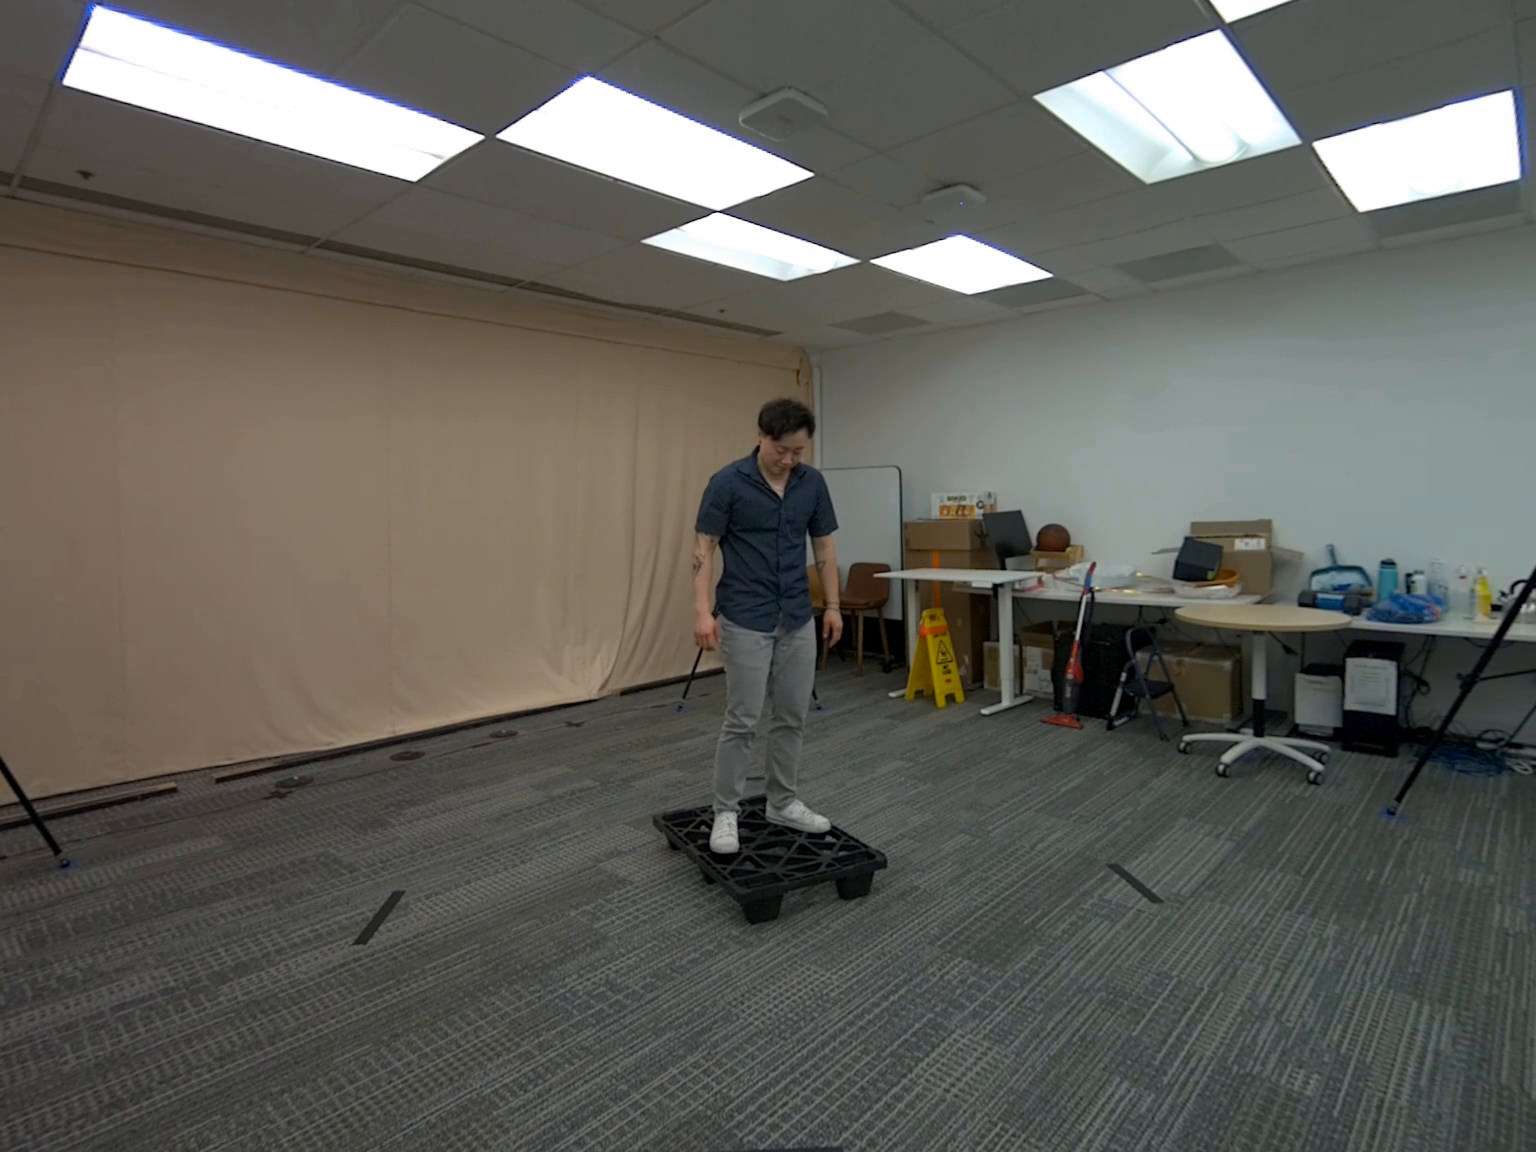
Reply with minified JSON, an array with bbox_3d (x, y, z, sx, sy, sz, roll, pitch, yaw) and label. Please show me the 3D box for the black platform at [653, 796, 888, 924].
[{"bbox_3d":[-0.018,1.052,3.216,0.590,0.143,0.827,-3,5,-27],"label":"black platform"}]
